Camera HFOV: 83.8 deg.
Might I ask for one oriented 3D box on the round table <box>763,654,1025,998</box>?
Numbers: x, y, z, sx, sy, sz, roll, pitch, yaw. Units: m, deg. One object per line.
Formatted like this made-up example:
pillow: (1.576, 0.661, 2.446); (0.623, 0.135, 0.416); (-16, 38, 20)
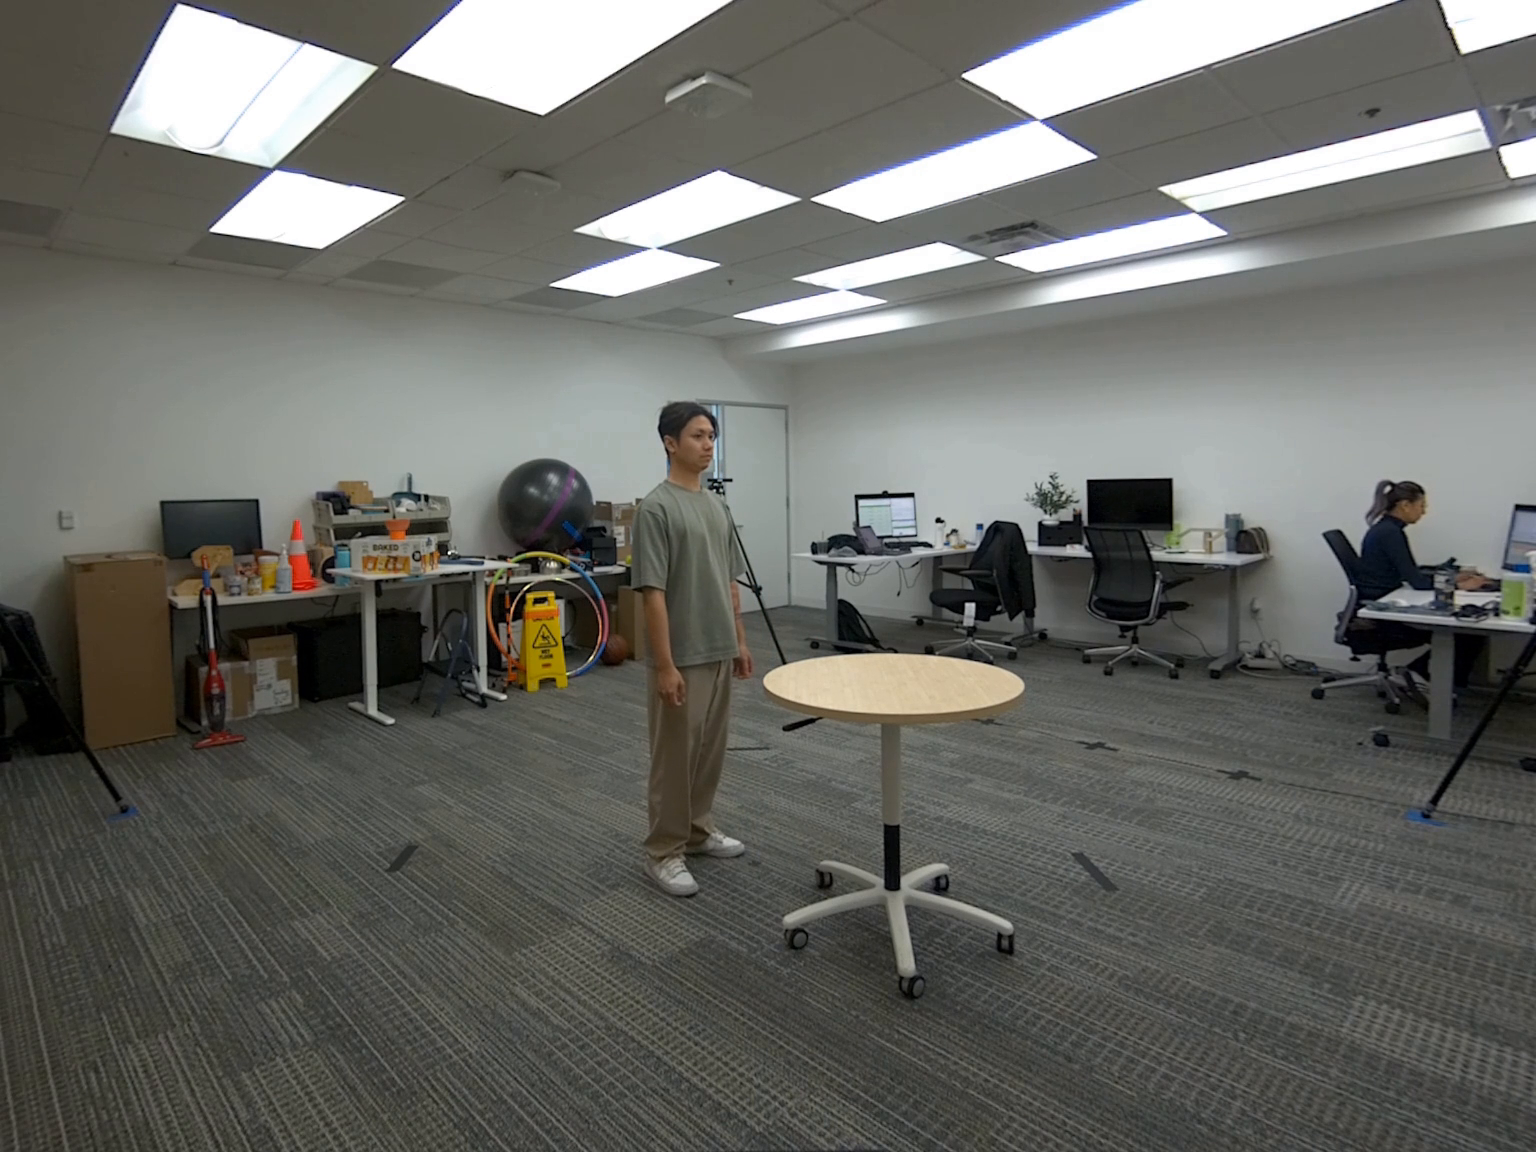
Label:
round table: (0.388, 0.699, 2.591); (0.785, 0.783, 0.789); (-2, 5, -1)
